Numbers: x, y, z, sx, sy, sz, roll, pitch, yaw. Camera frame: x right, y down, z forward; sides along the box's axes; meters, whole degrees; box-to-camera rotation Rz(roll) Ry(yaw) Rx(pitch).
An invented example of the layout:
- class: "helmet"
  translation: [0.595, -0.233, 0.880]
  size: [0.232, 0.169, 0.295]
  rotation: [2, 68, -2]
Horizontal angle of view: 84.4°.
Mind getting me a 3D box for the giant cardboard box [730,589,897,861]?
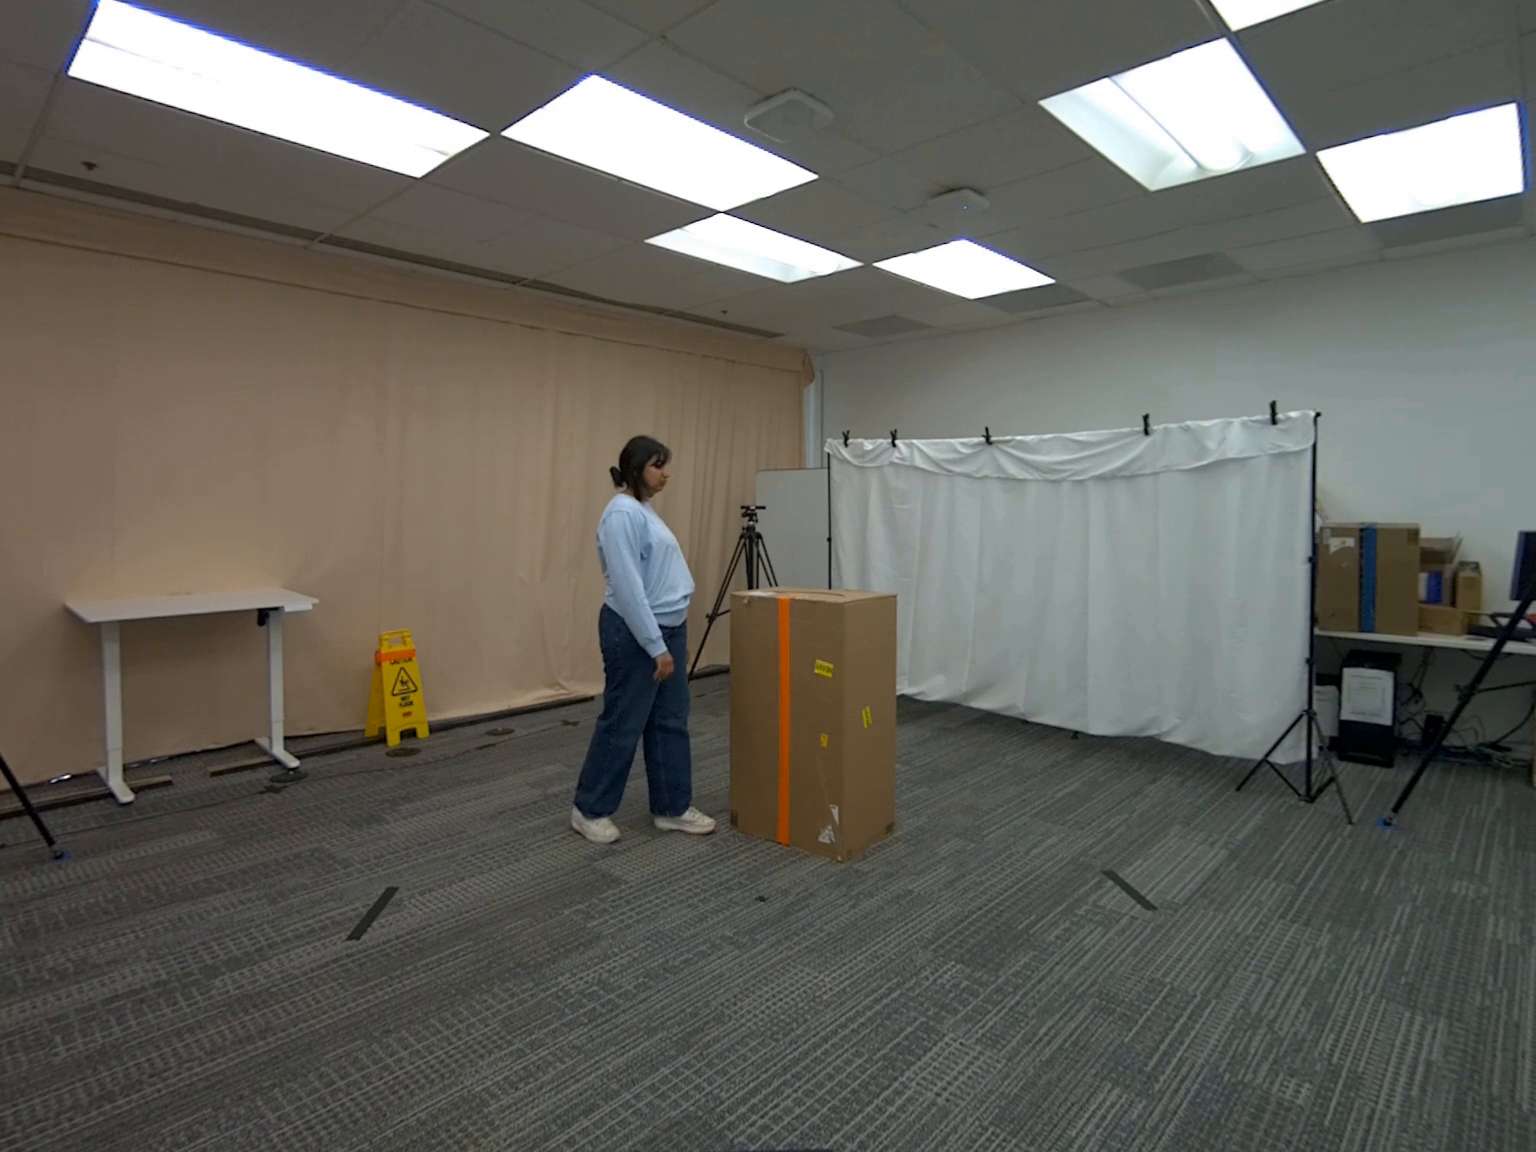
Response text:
- class: "giant cardboard box"
  translation: [0.193, 0.582, 3.590]
  size: [0.603, 1.025, 0.433]
  rotation: [3, 4, 40]
